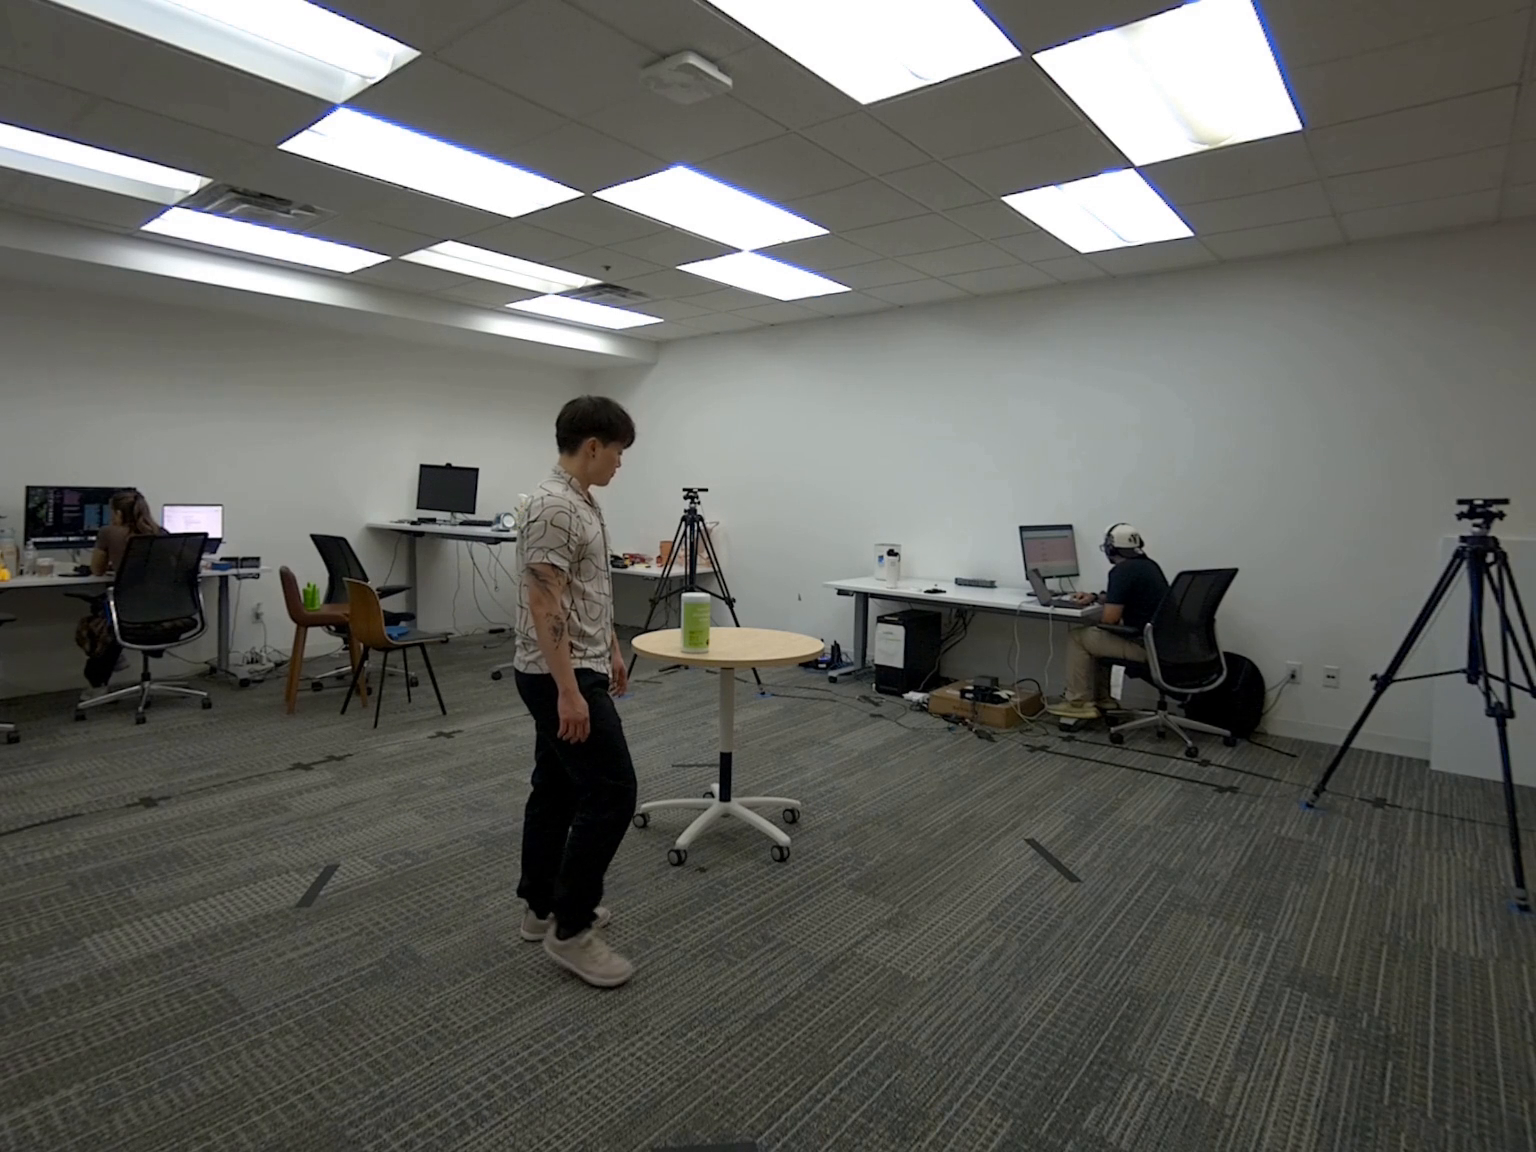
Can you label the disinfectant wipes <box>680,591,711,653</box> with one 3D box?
[{"bbox_3d":[-0.279,0.171,3.175,0.118,0.217,0.118,1,4,-2],"label":"disinfectant wipes"}]
